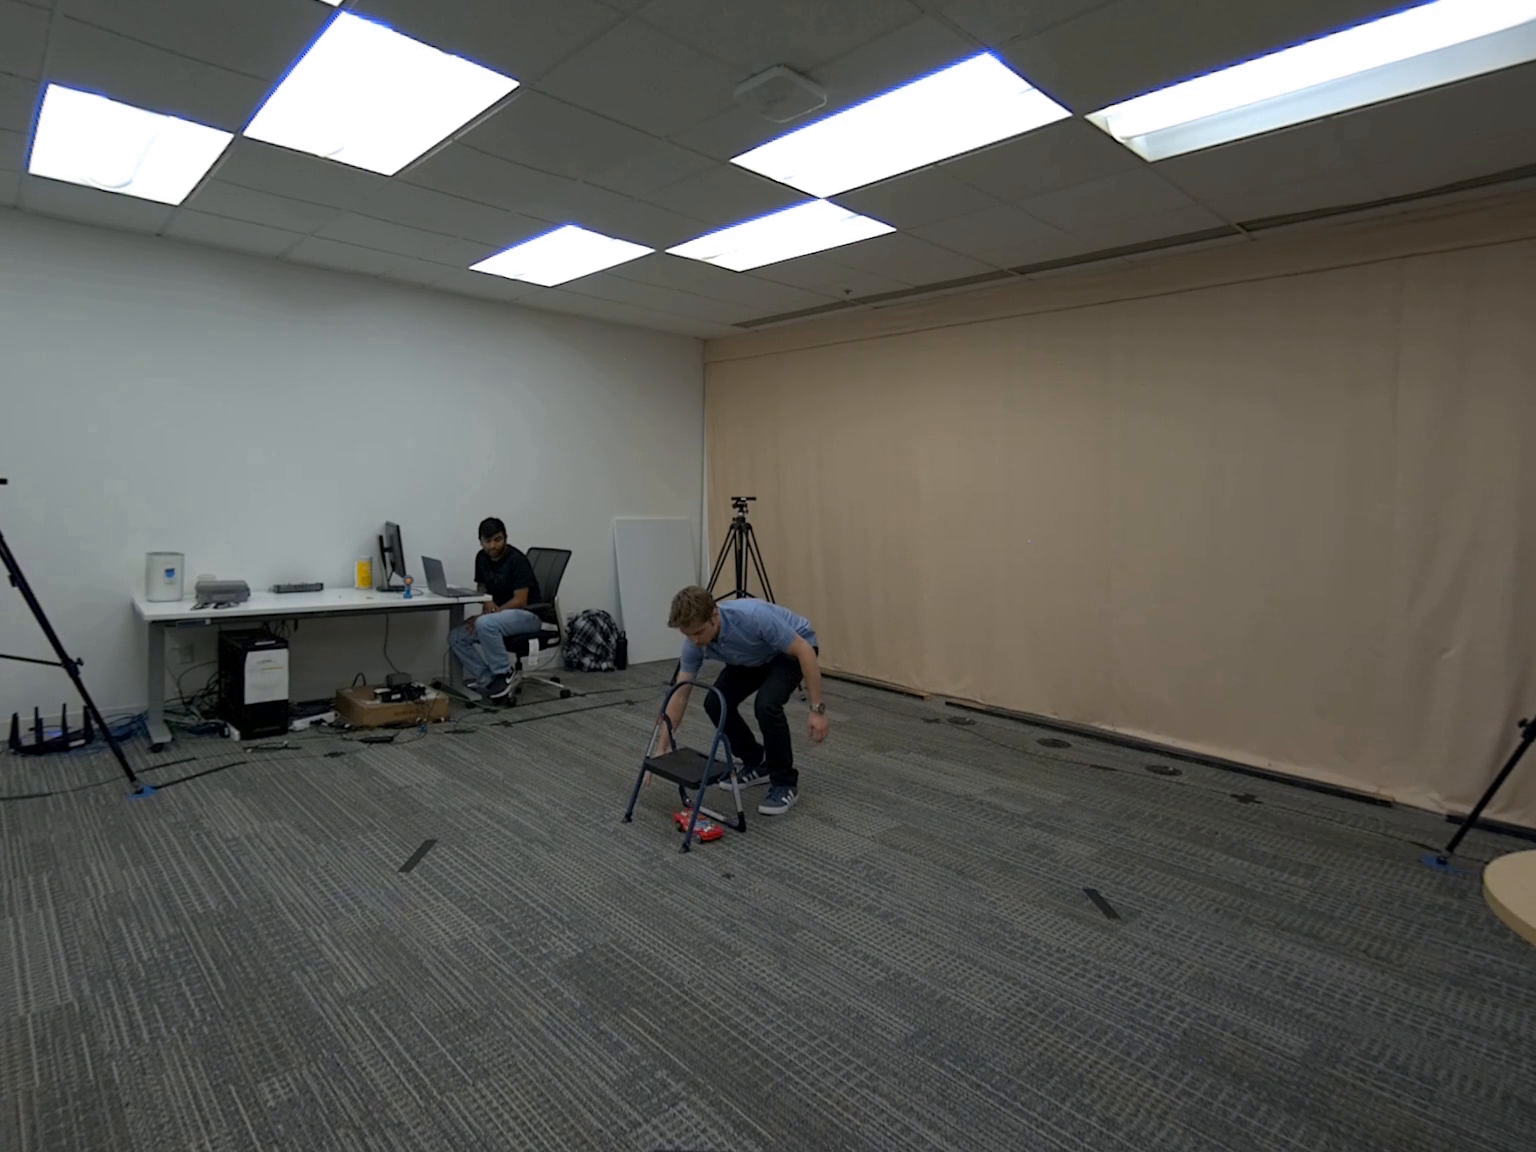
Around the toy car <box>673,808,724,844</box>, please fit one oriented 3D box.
[{"bbox_3d":[-0.317,1.040,3.507,0.127,0.082,0.262,-1,16,-36],"label":"toy car"}]
